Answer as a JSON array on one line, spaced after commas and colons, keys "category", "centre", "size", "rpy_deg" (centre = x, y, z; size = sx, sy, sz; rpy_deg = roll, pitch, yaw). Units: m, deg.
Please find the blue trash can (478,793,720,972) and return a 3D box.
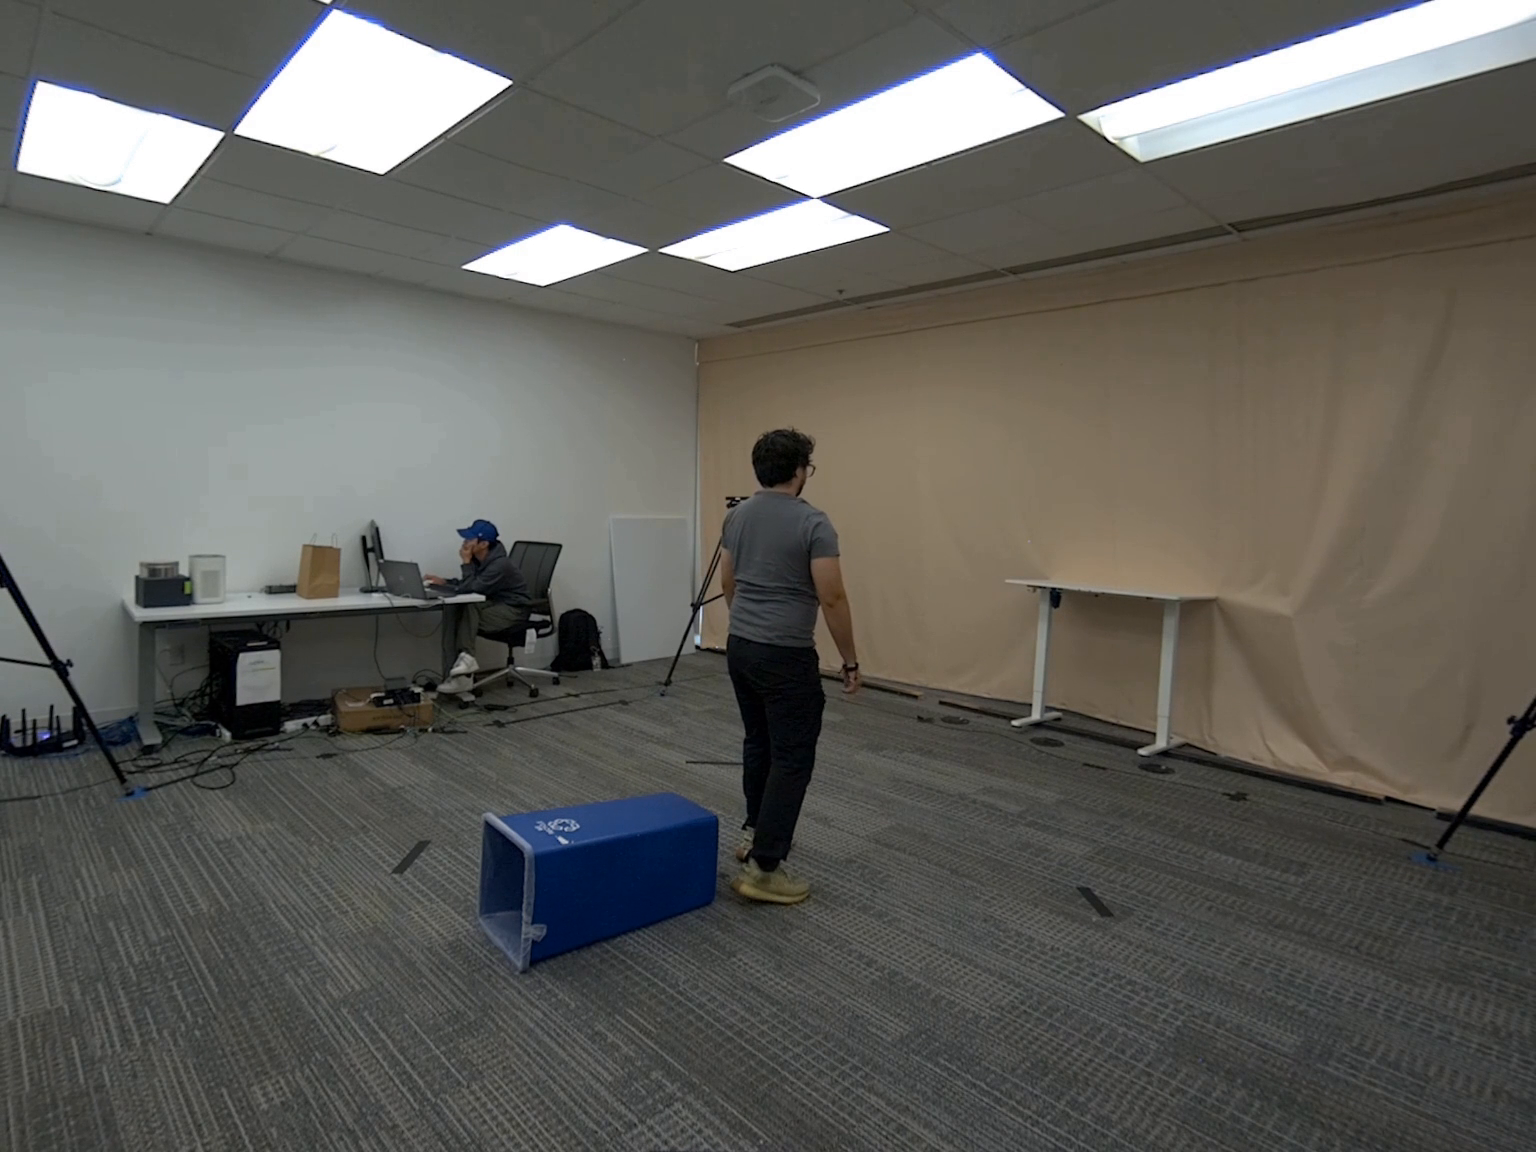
[{"category": "blue trash can", "centre": [-0.551, 0.953, 2.779], "size": [0.697, 0.373, 0.388], "rpy_deg": [0, 4, -39]}]
